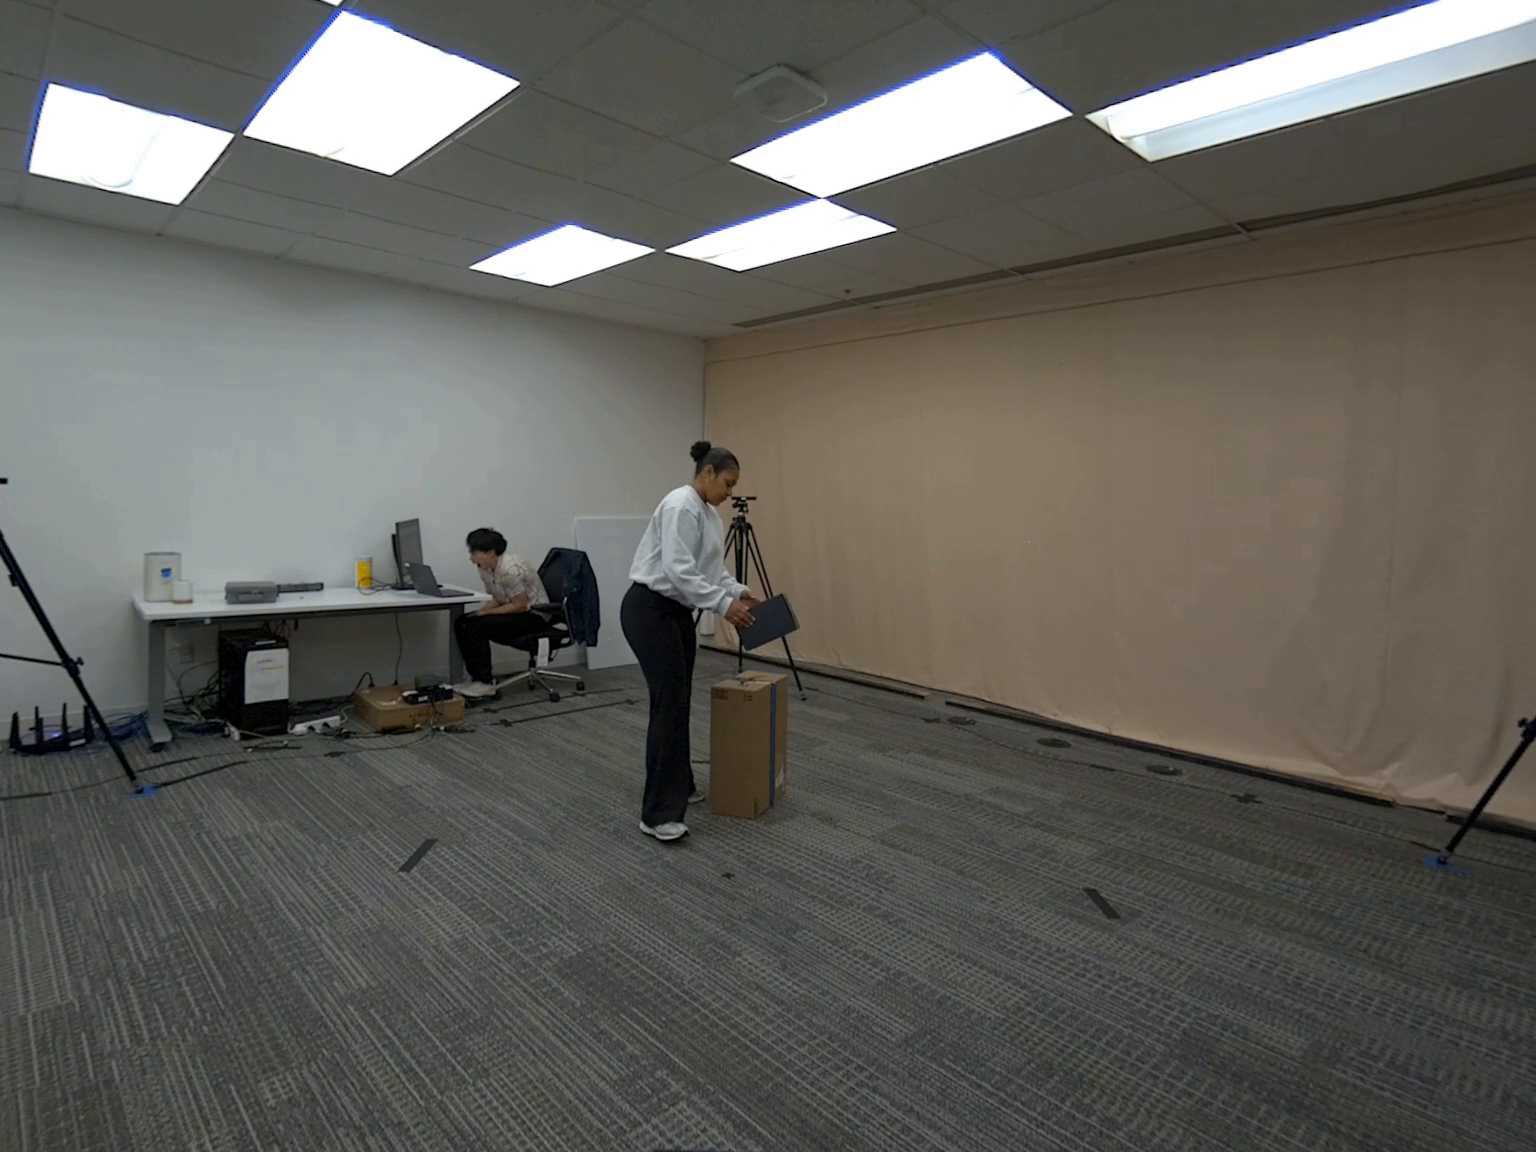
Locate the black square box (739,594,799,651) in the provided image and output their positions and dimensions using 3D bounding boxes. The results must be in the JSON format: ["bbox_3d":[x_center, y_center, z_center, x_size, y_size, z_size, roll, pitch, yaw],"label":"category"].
[{"bbox_3d":[-0.023,0.190,3.480,0.229,0.157,0.215,-23,-4,10],"label":"black square box"}]
